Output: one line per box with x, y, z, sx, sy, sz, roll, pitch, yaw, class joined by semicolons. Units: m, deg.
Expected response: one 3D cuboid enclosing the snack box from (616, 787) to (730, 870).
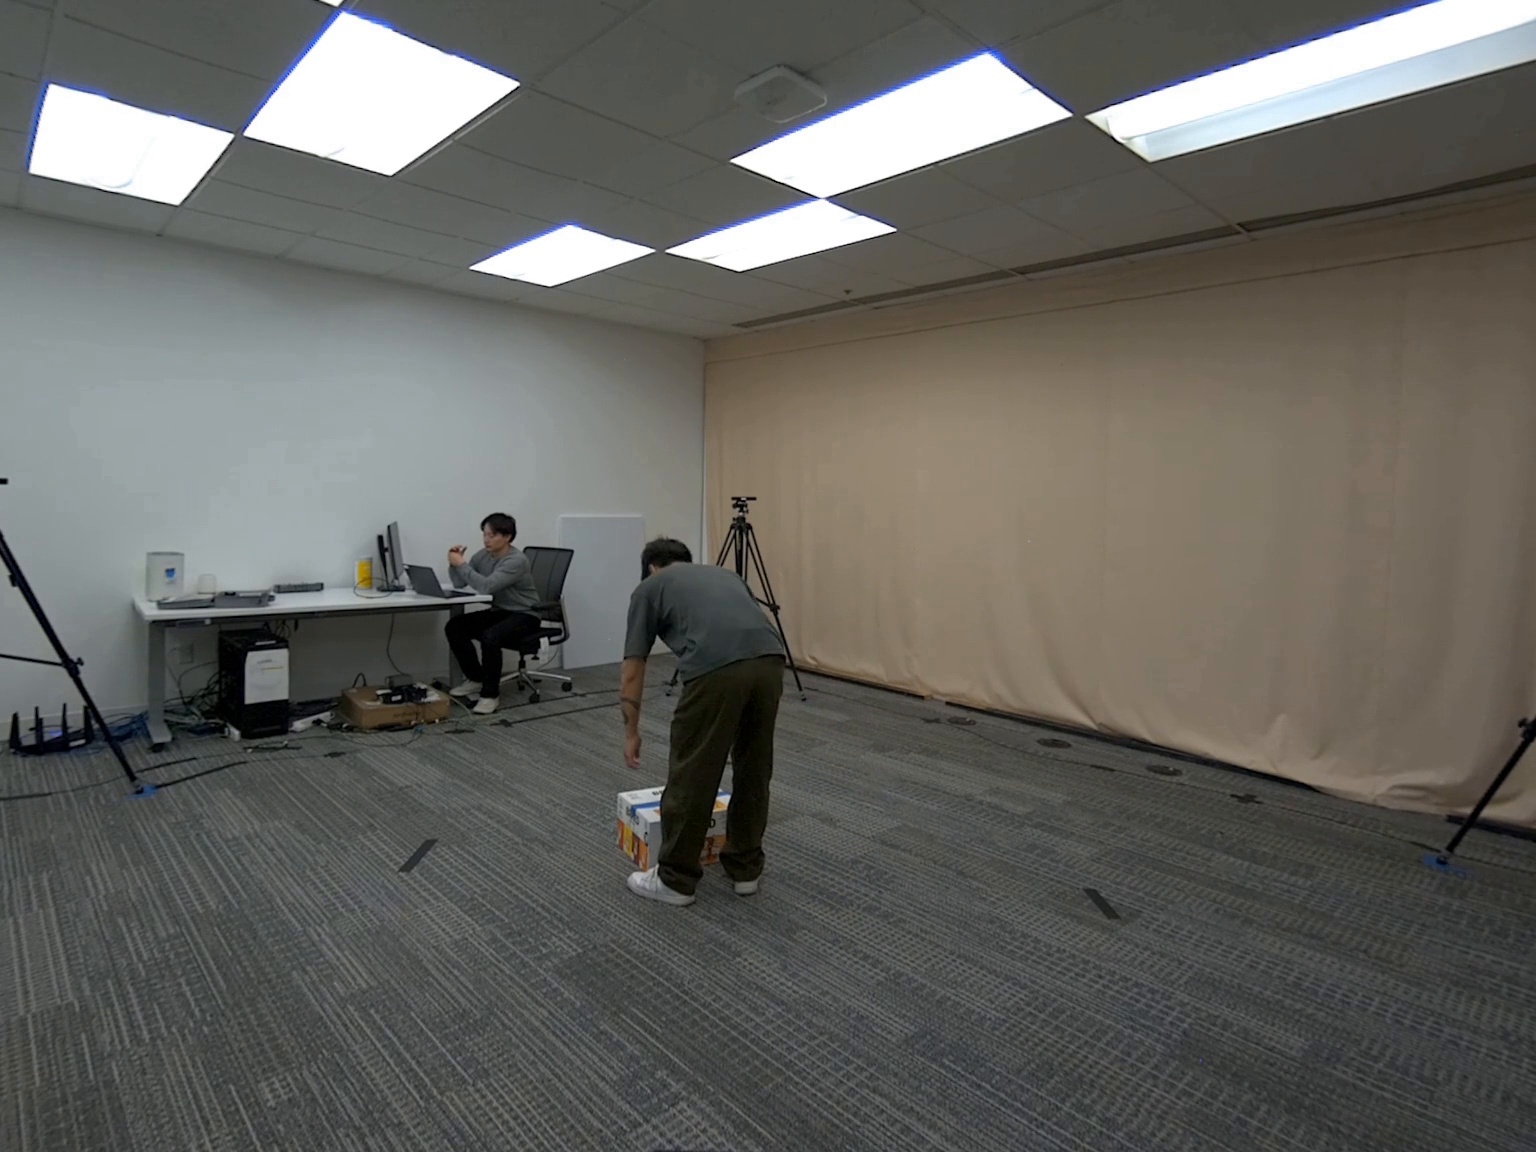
-0.349;0.978;3.312;0.397;0.205;0.348;-1;5;-29;snack box
